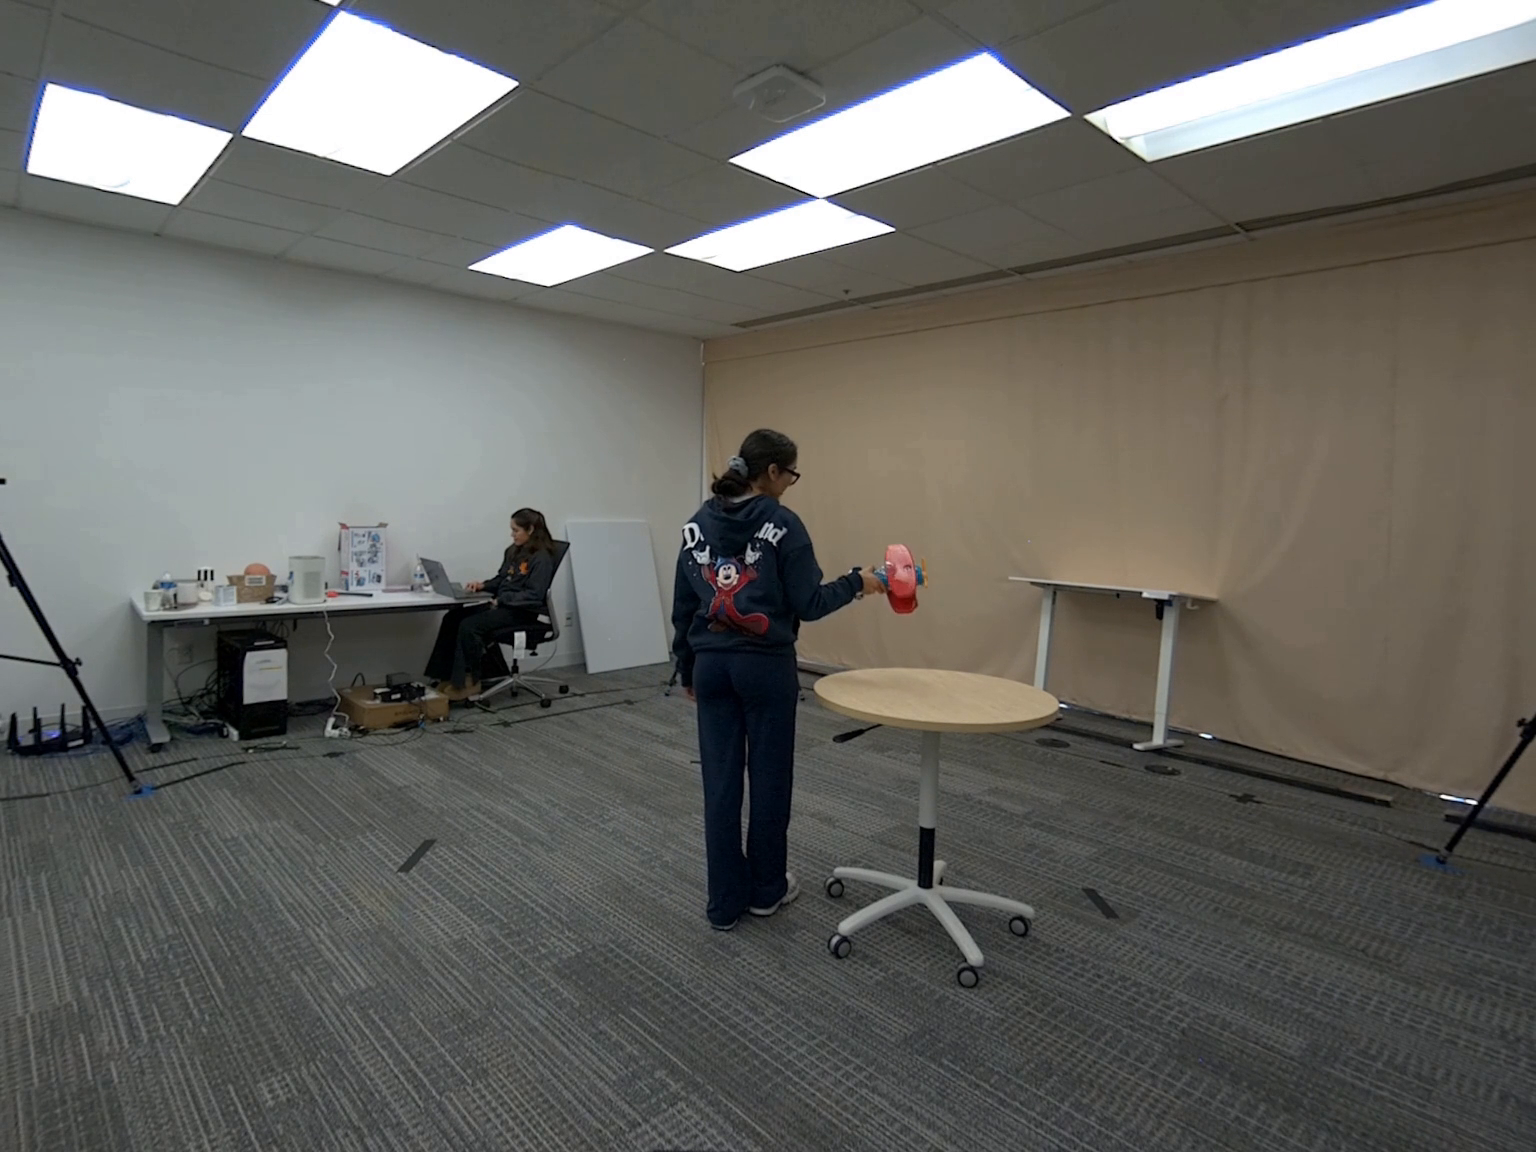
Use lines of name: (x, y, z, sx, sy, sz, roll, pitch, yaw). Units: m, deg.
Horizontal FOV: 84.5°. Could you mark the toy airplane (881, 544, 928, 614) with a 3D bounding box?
toy airplane: (0.409, 0.032, 2.887, 0.255, 0.154, 0.259, -14, 47, -28)
